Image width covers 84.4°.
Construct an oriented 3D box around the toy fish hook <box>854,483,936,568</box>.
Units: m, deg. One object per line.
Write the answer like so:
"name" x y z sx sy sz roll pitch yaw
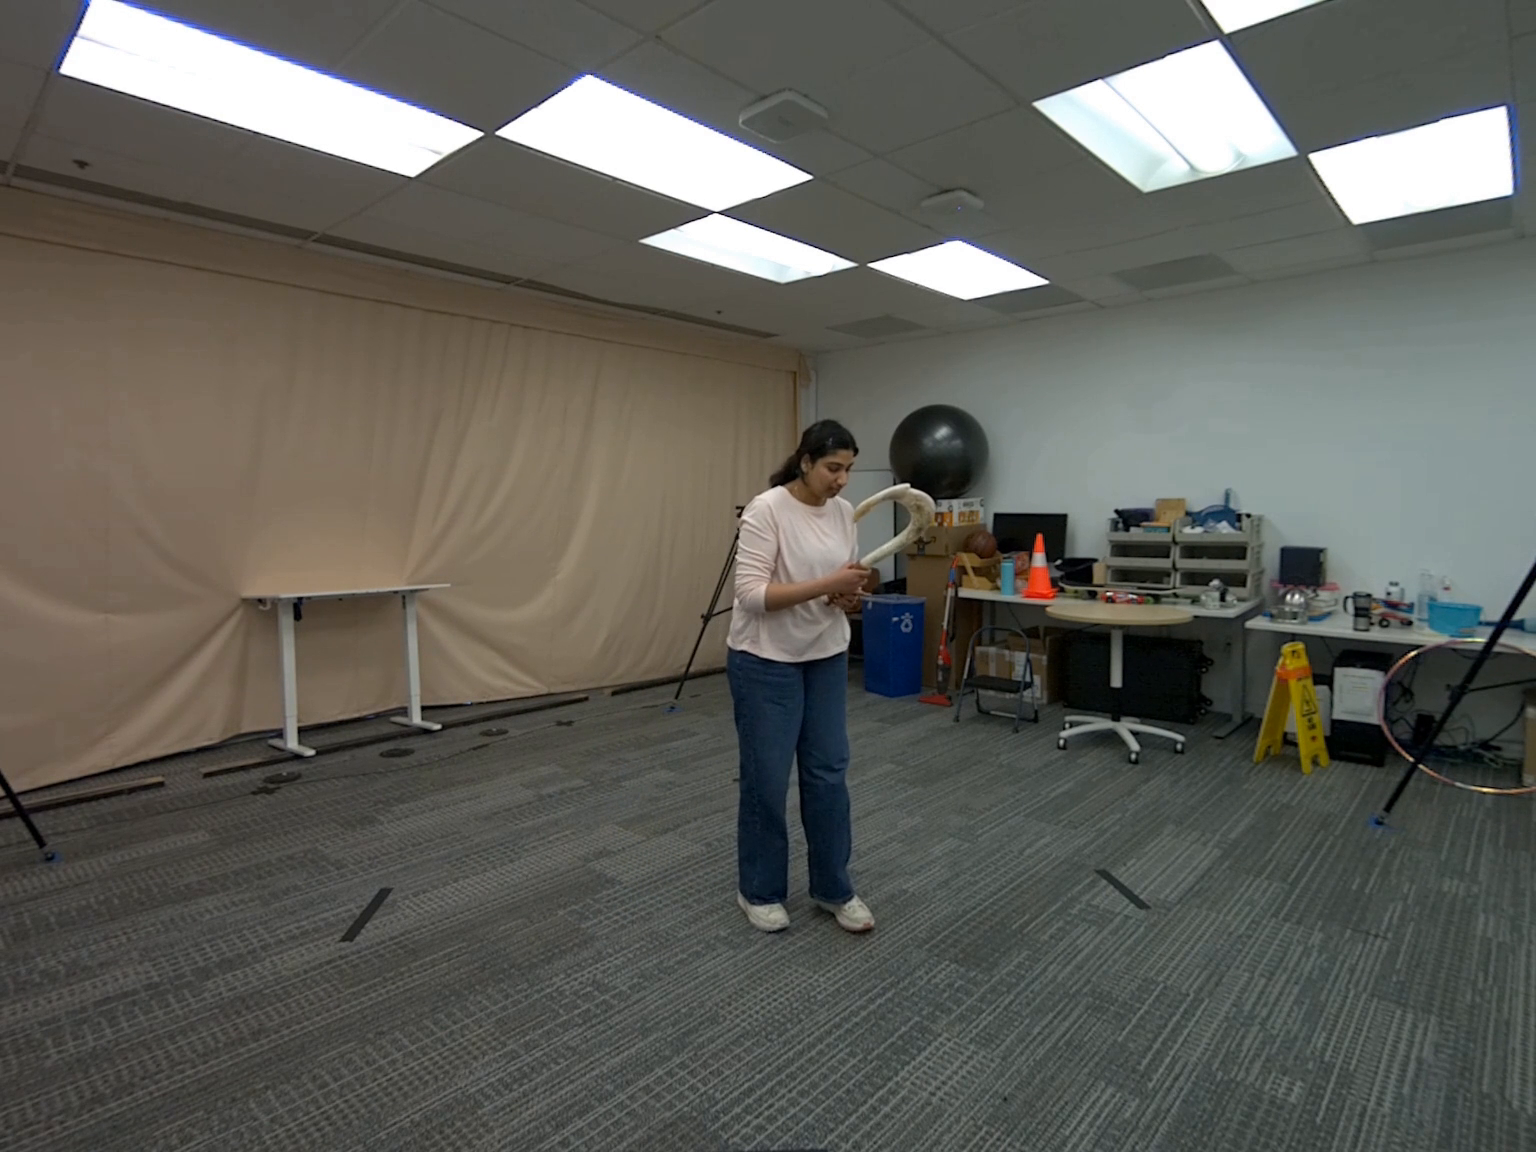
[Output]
"toy fish hook" 0.307 -0.087 2.550 0.220 0.509 0.049 29 35 -17
